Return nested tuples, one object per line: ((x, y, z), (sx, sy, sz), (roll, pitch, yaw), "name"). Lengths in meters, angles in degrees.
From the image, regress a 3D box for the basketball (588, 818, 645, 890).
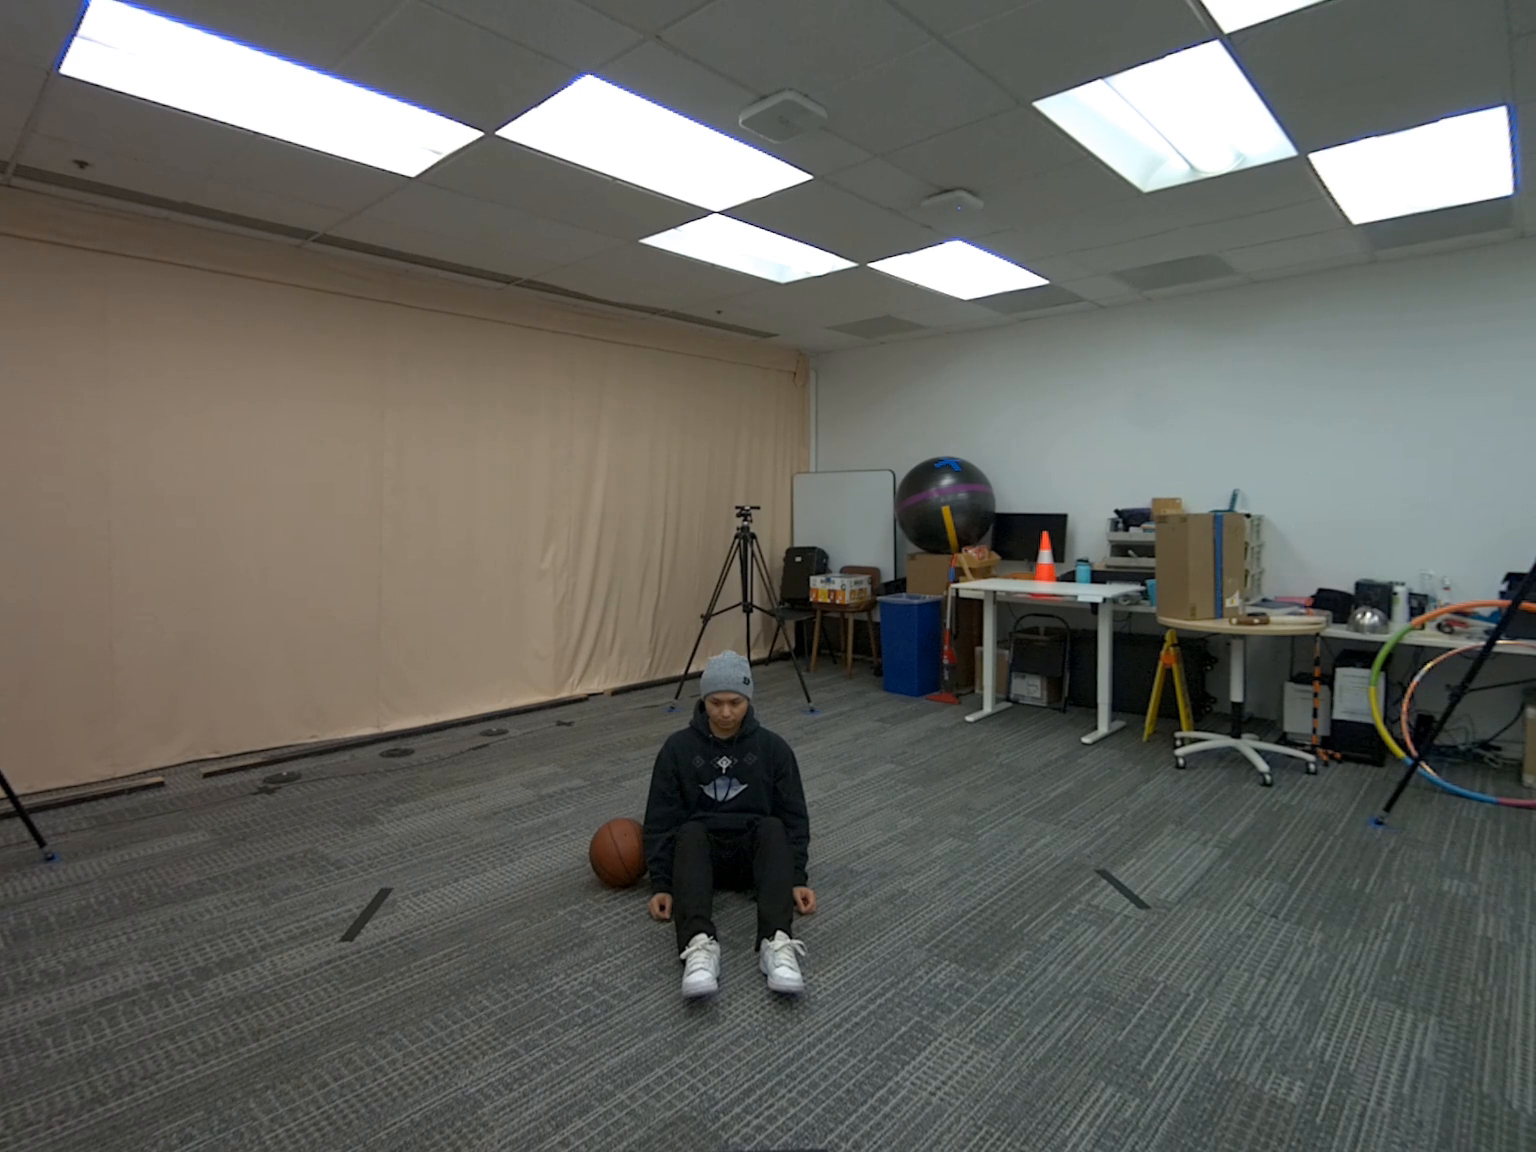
((-0.536, 1.016, 3.120), (0.236, 0.235, 0.237), (0, 4, -2), "basketball")
